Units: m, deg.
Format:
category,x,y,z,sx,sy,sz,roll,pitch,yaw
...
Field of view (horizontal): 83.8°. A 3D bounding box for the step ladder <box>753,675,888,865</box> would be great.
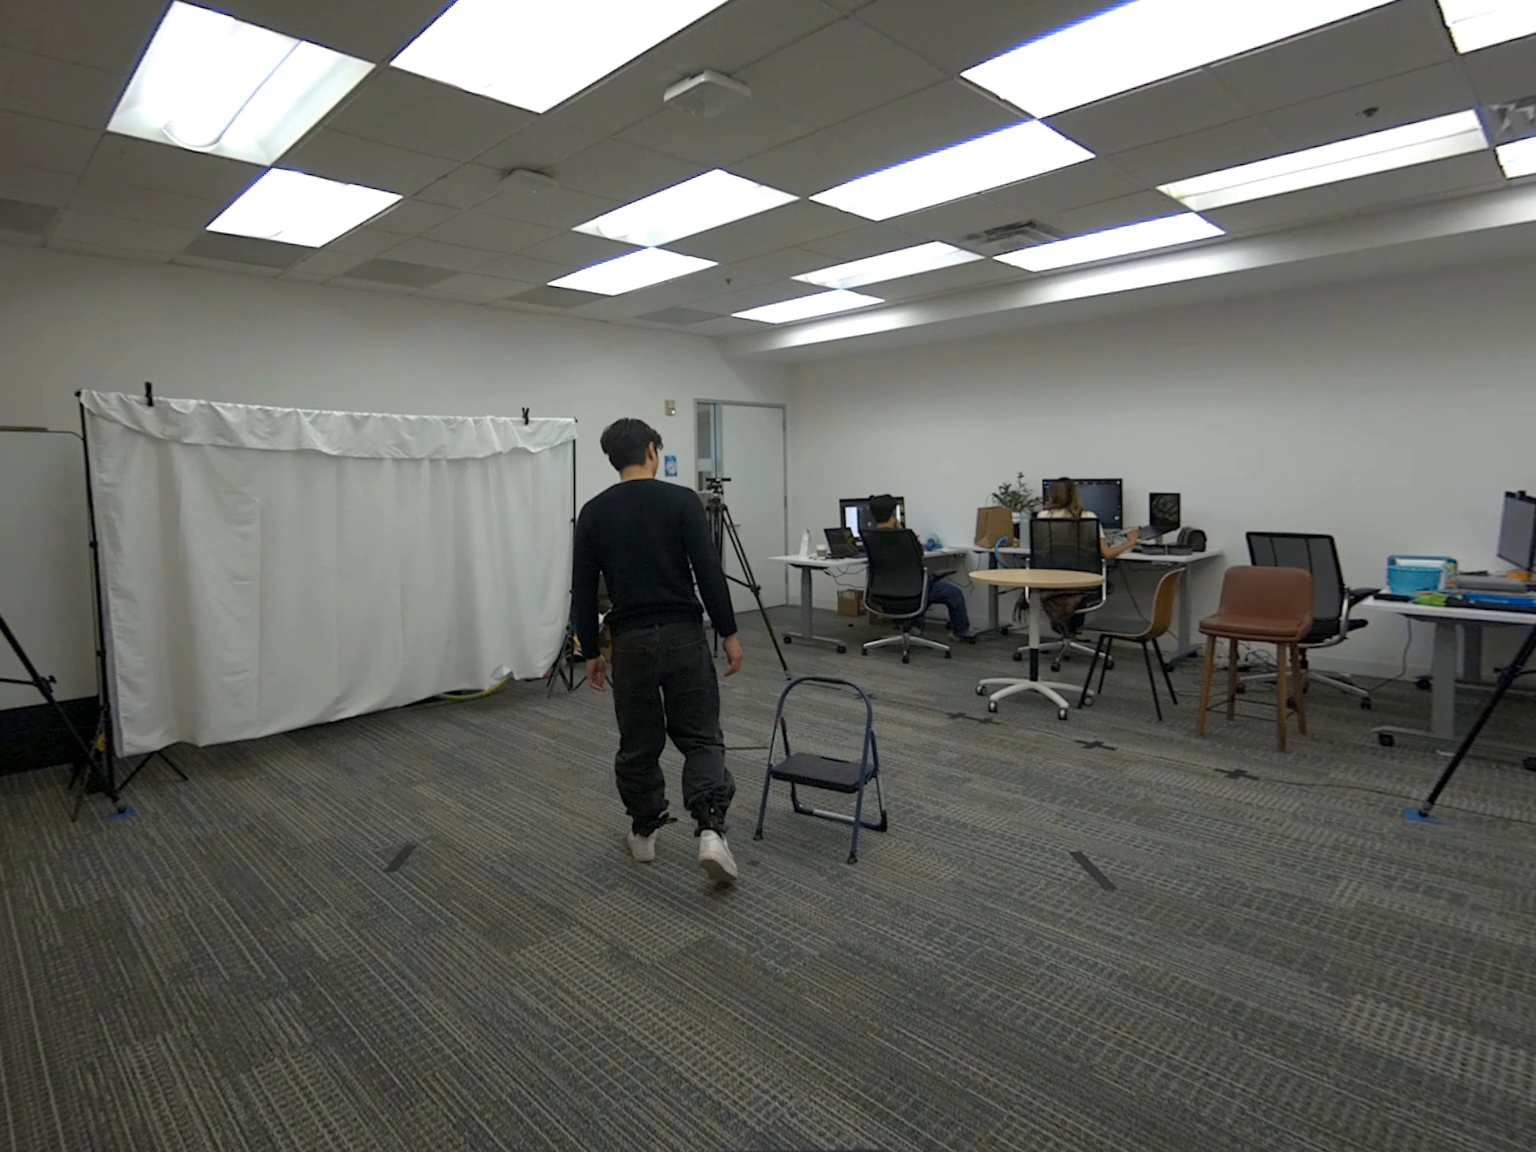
category,x,y,z,sx,sy,sz,roll,pitch,yaw
step ladder,0.209,0.709,3.321,0.442,0.603,0.341,2,5,31
